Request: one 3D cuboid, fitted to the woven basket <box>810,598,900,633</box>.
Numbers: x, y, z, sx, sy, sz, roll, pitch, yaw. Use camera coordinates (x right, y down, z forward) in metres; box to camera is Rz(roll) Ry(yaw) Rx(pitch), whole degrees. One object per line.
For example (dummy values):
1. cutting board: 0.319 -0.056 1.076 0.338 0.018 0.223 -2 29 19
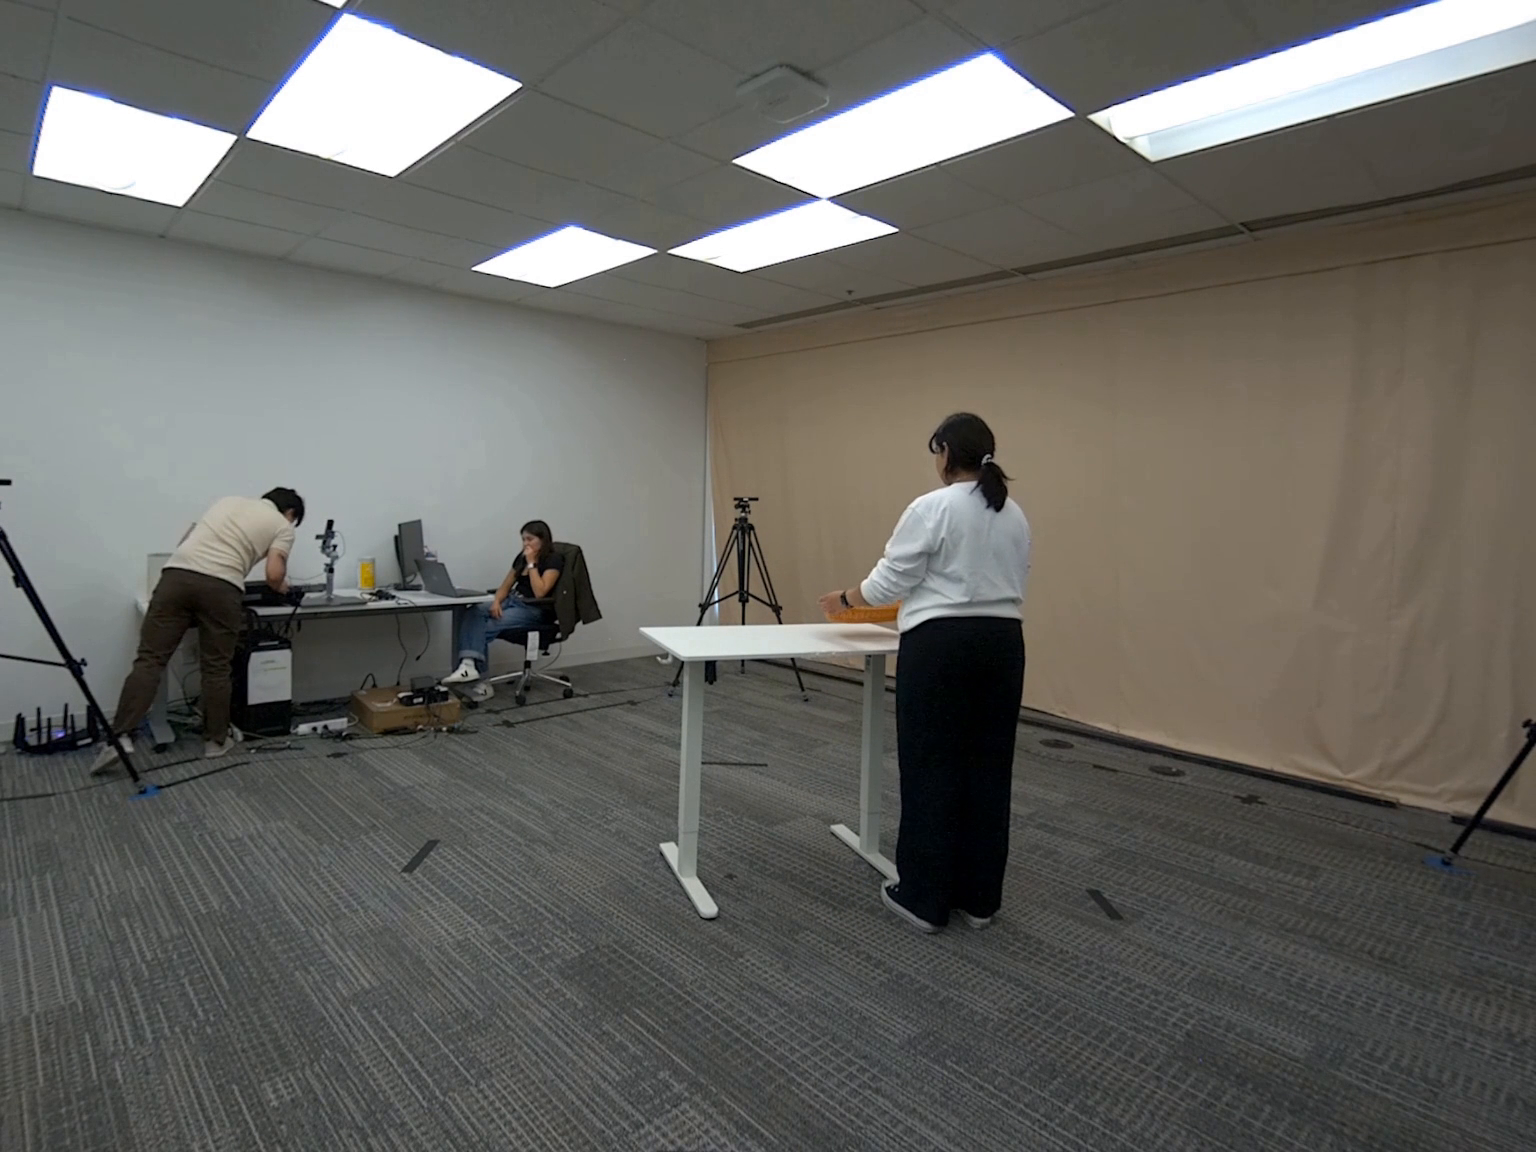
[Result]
1. woven basket: 0.364 0.142 3.185 0.347 0.073 0.256 -1 10 -13
